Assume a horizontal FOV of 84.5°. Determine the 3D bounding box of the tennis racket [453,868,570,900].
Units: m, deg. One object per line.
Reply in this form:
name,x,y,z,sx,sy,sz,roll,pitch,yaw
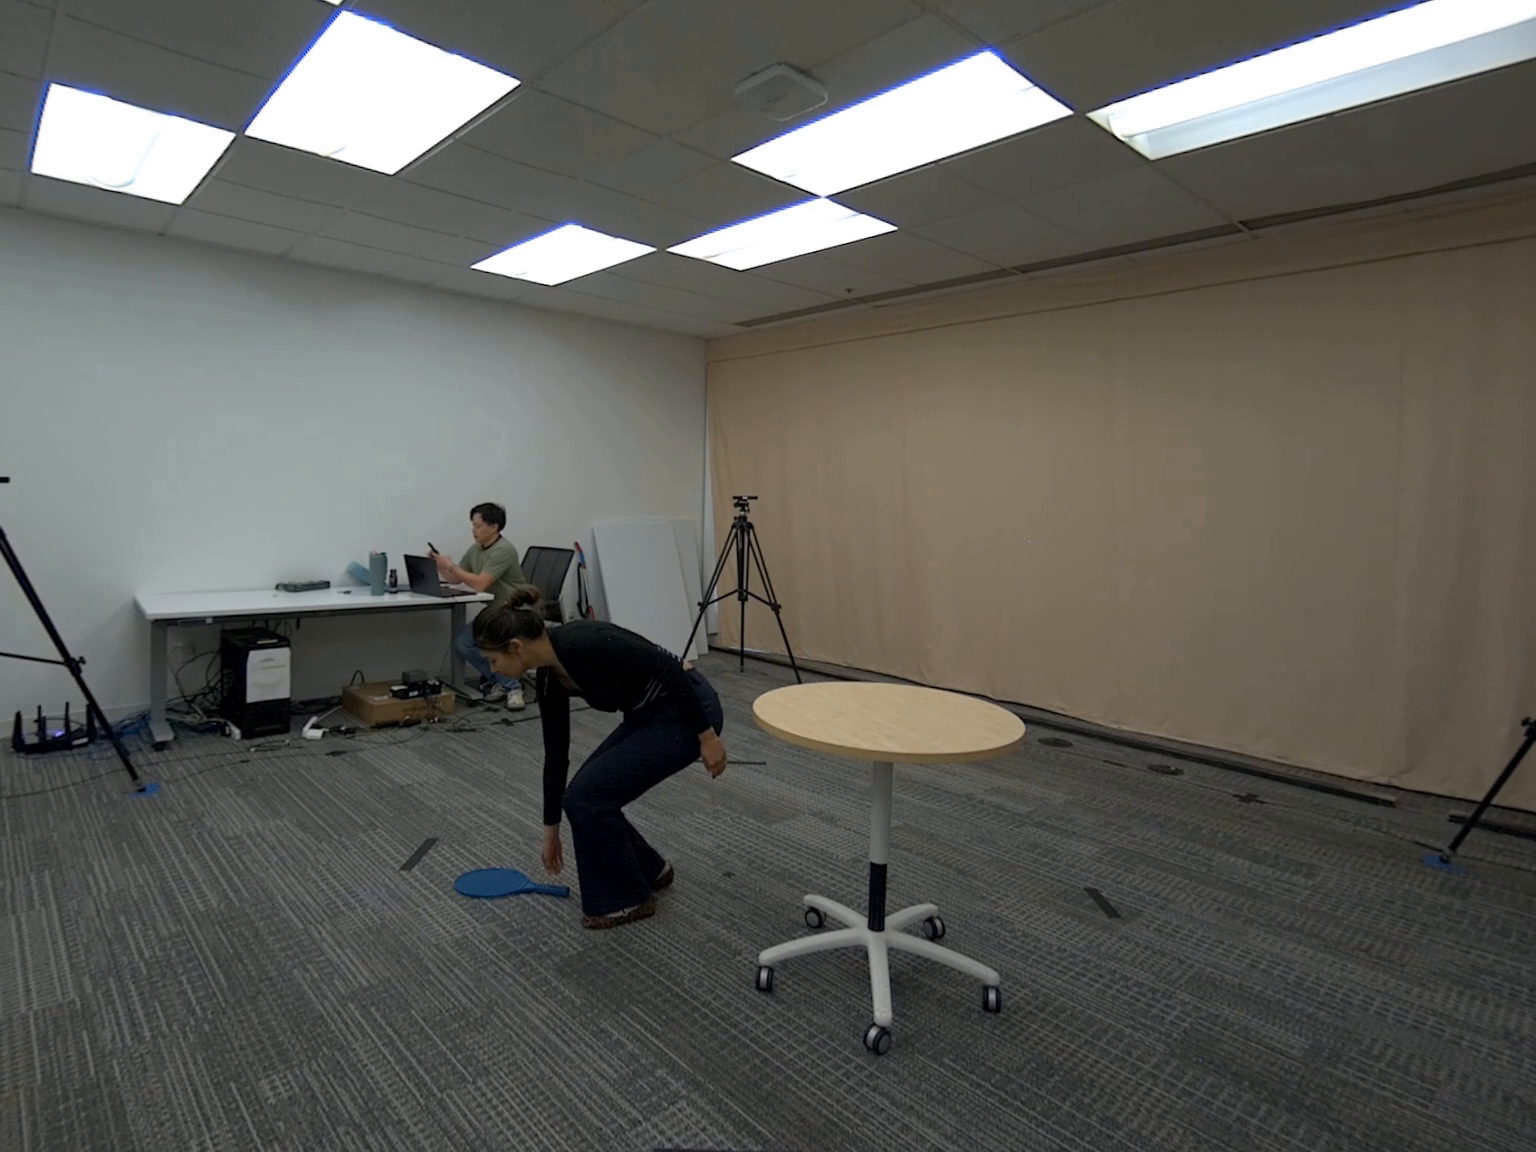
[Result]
tennis racket,-0.901,1.086,2.960,0.438,0.031,0.212,1,5,14
